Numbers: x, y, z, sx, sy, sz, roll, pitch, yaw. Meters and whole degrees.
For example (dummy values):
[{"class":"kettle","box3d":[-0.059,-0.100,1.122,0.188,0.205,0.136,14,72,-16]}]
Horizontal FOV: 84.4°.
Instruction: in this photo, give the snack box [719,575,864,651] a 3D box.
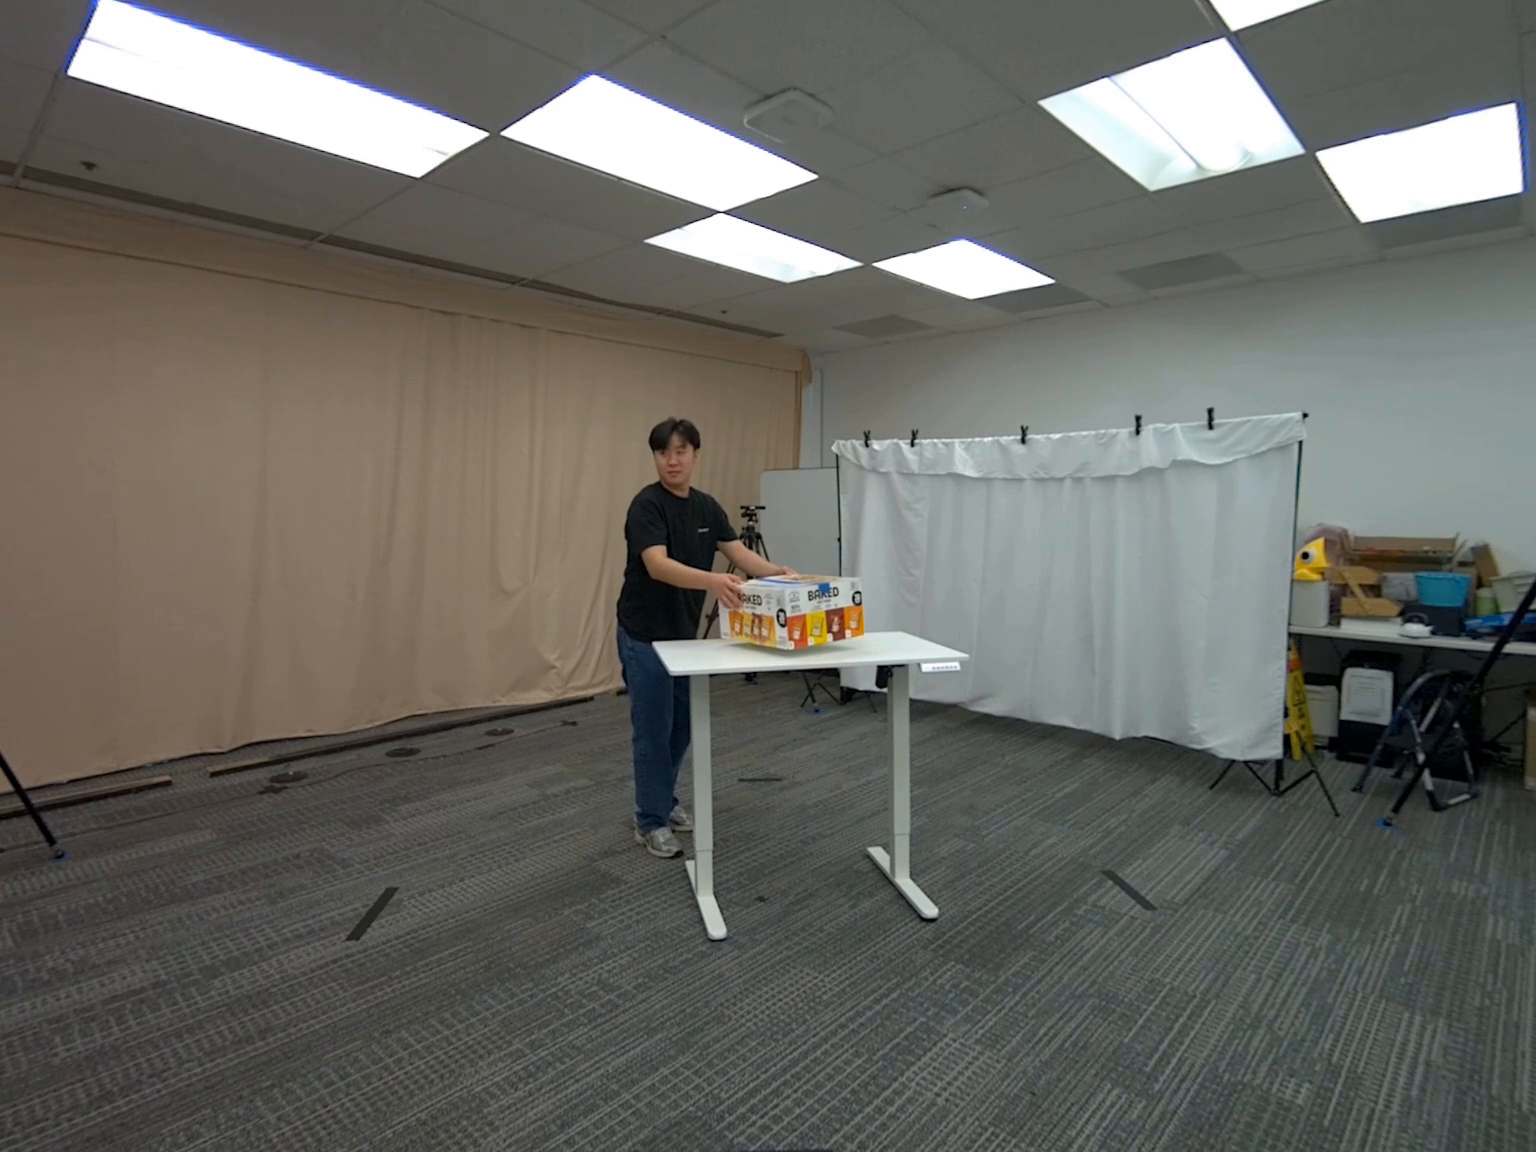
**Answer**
[{"class":"snack box","box3d":[0.083,0.118,3.027,0.331,0.205,0.417,-7,5,-34]}]
